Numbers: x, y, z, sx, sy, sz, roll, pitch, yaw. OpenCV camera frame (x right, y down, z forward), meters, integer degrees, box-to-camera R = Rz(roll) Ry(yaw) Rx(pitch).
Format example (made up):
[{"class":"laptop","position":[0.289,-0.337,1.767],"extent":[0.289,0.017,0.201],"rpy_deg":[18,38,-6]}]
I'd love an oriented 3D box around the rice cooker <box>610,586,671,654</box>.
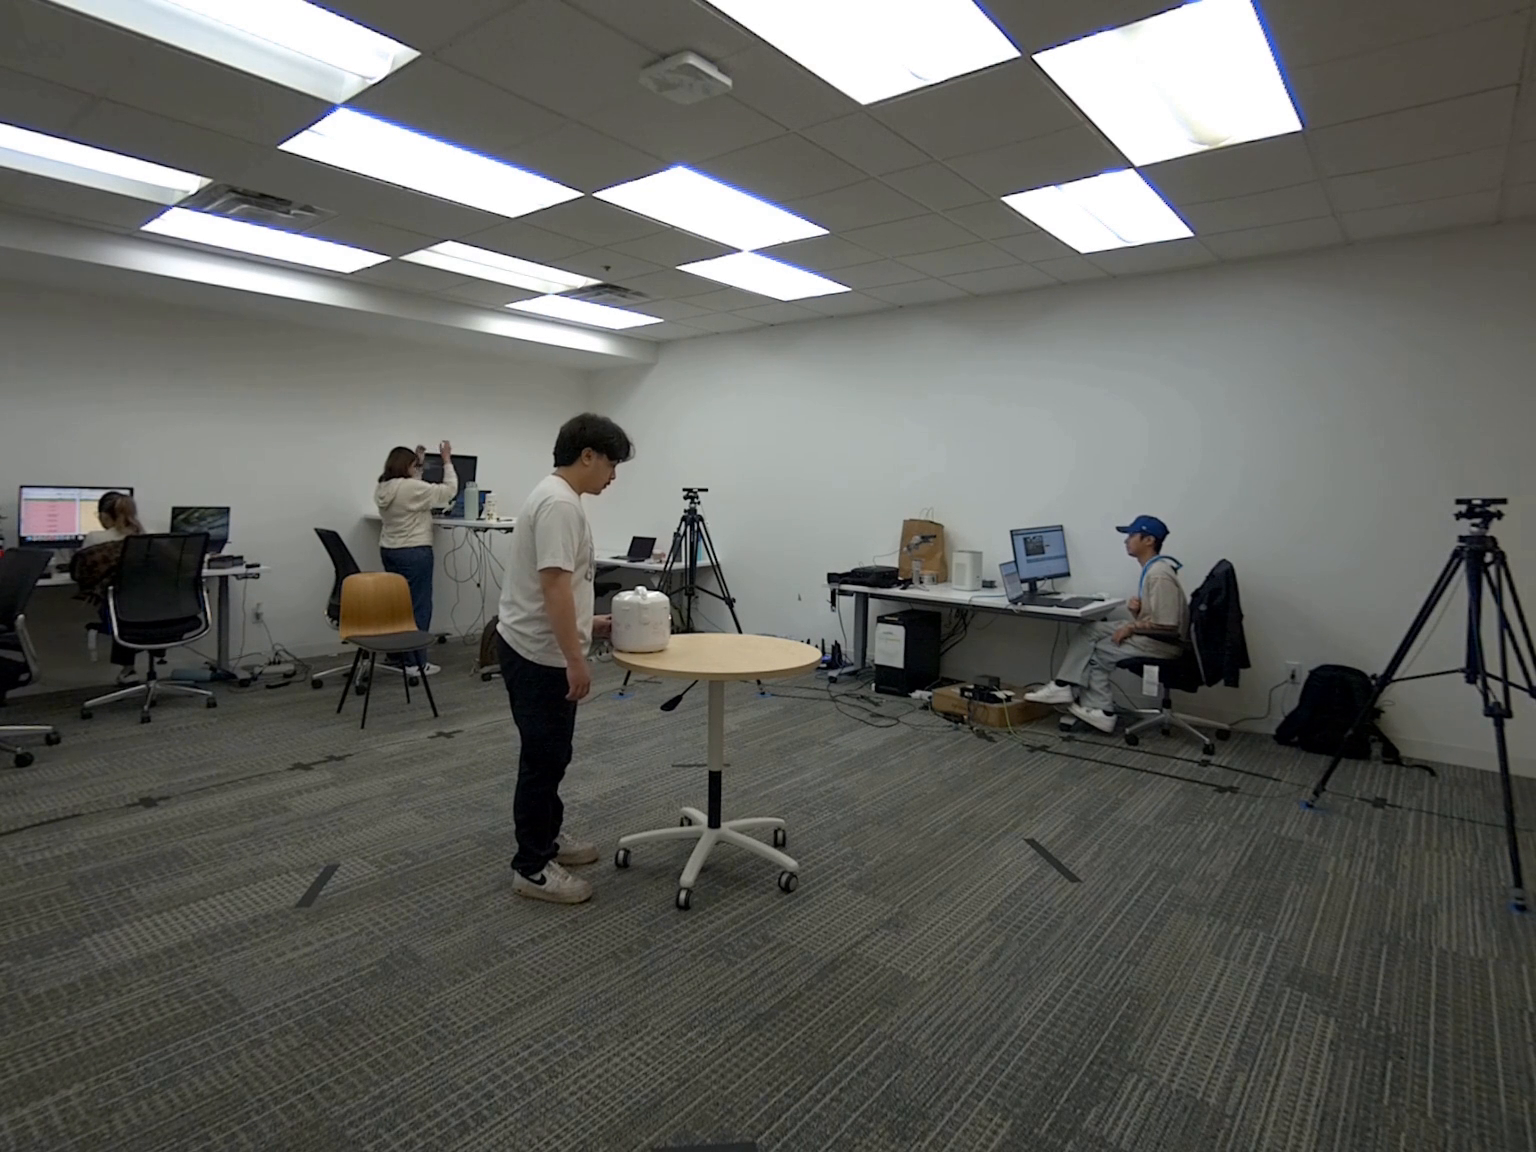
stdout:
[{"class":"rice cooker","position":[-0.479,0.155,3.127],"extent":[0.214,0.232,0.224],"rpy_deg":[-1,5,-14]}]
